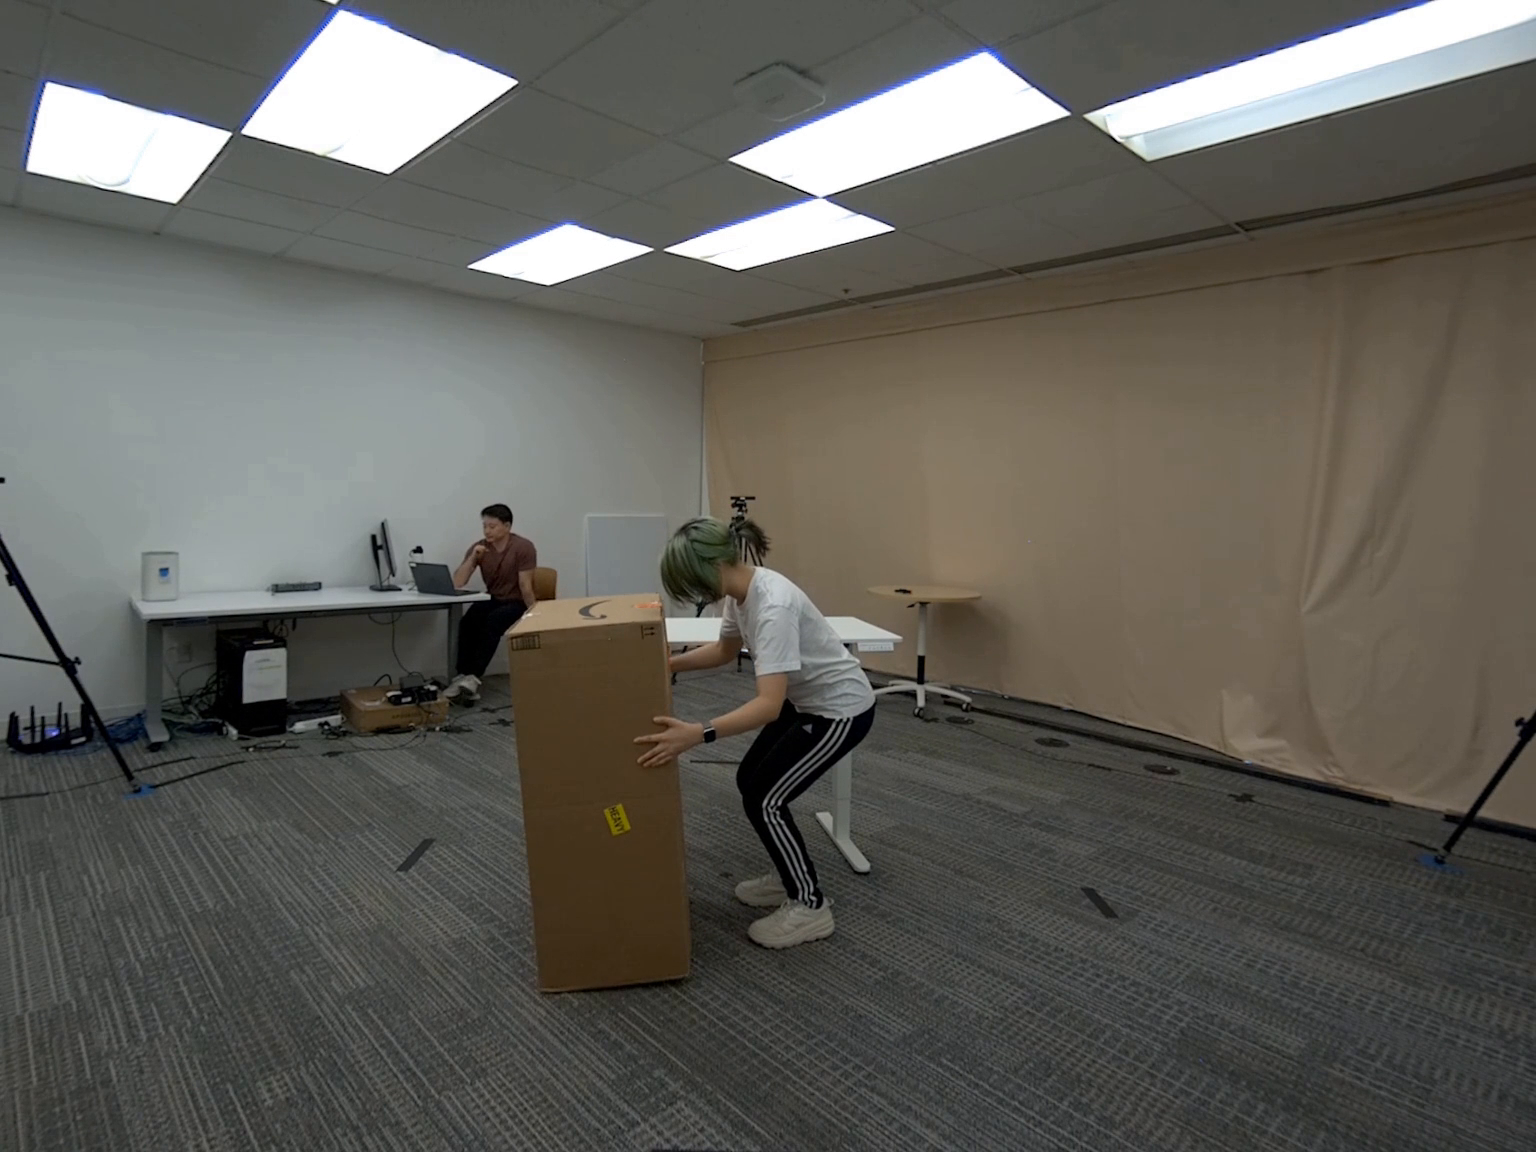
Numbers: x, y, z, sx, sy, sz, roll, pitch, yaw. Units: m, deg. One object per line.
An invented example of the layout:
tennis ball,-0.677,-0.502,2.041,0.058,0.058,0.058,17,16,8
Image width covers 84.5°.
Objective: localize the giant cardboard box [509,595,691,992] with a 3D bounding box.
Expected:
giant cardboard box,-0.503,0.620,2.595,0.445,1.023,0.589,-5,5,-7
